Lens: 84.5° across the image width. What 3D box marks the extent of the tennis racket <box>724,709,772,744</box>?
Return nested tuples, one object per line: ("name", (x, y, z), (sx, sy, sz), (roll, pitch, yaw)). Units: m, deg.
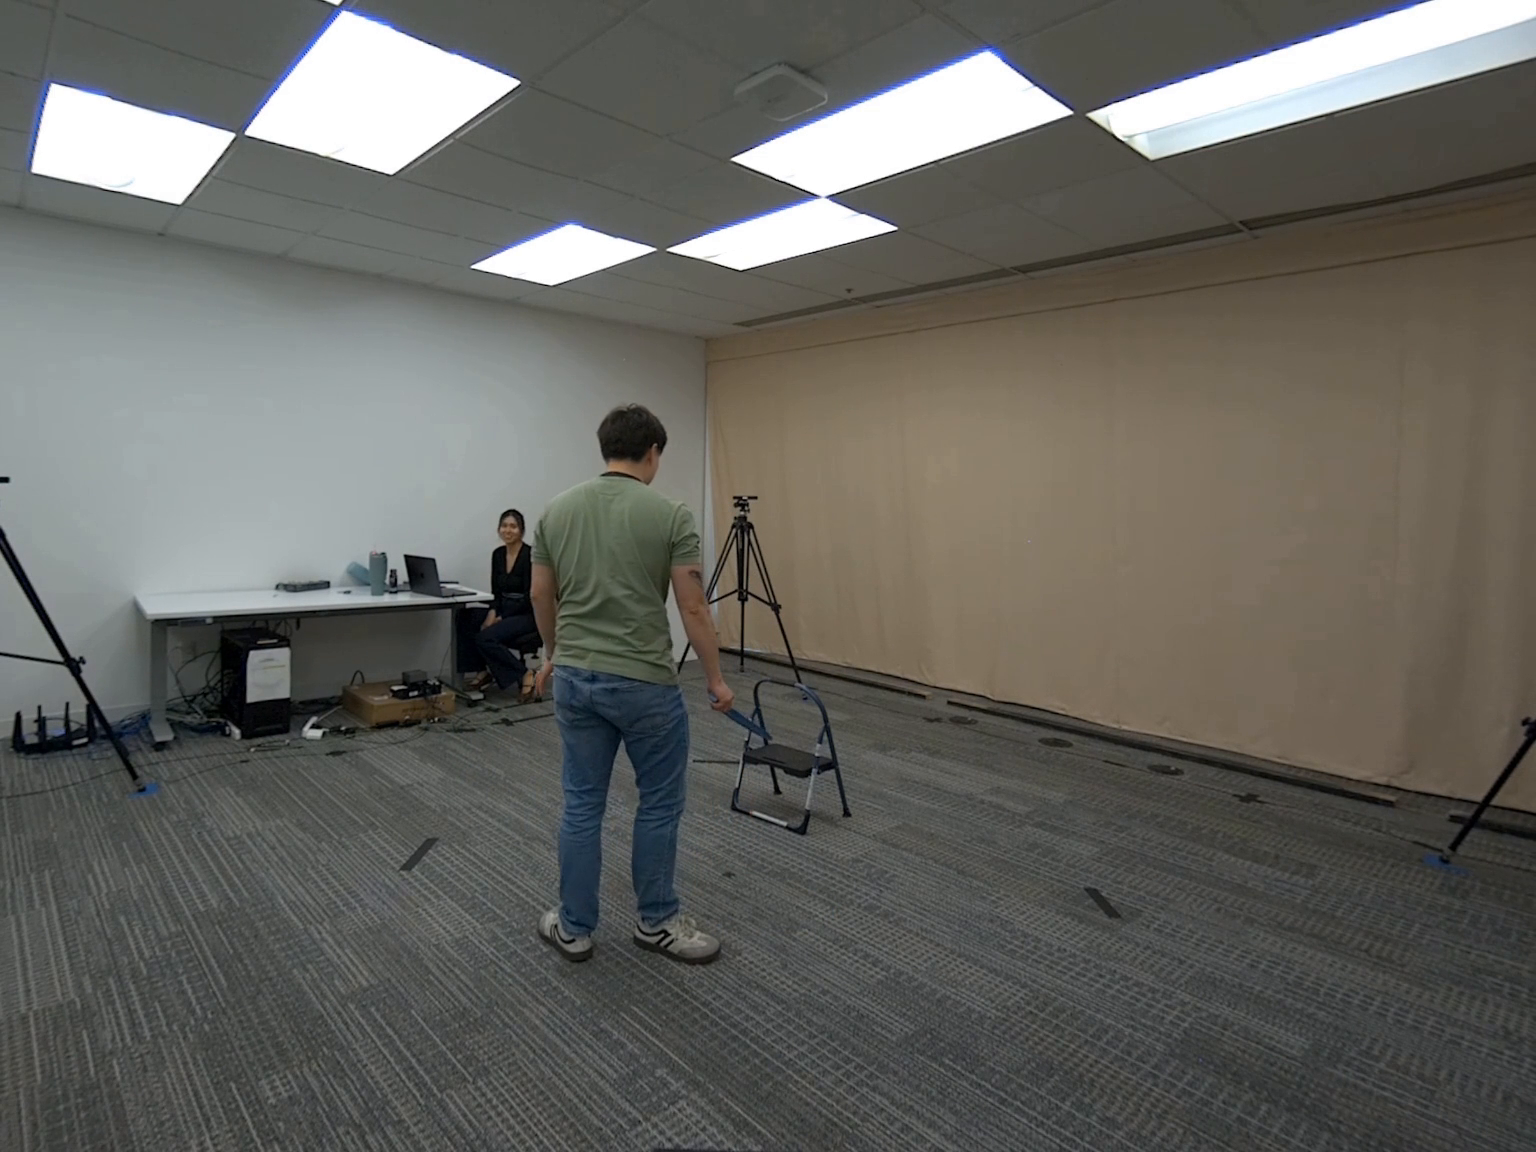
("tennis racket", (-0.125, 0.449, 2.742), (0.219, 0.032, 0.421), (25, -12, 26))
